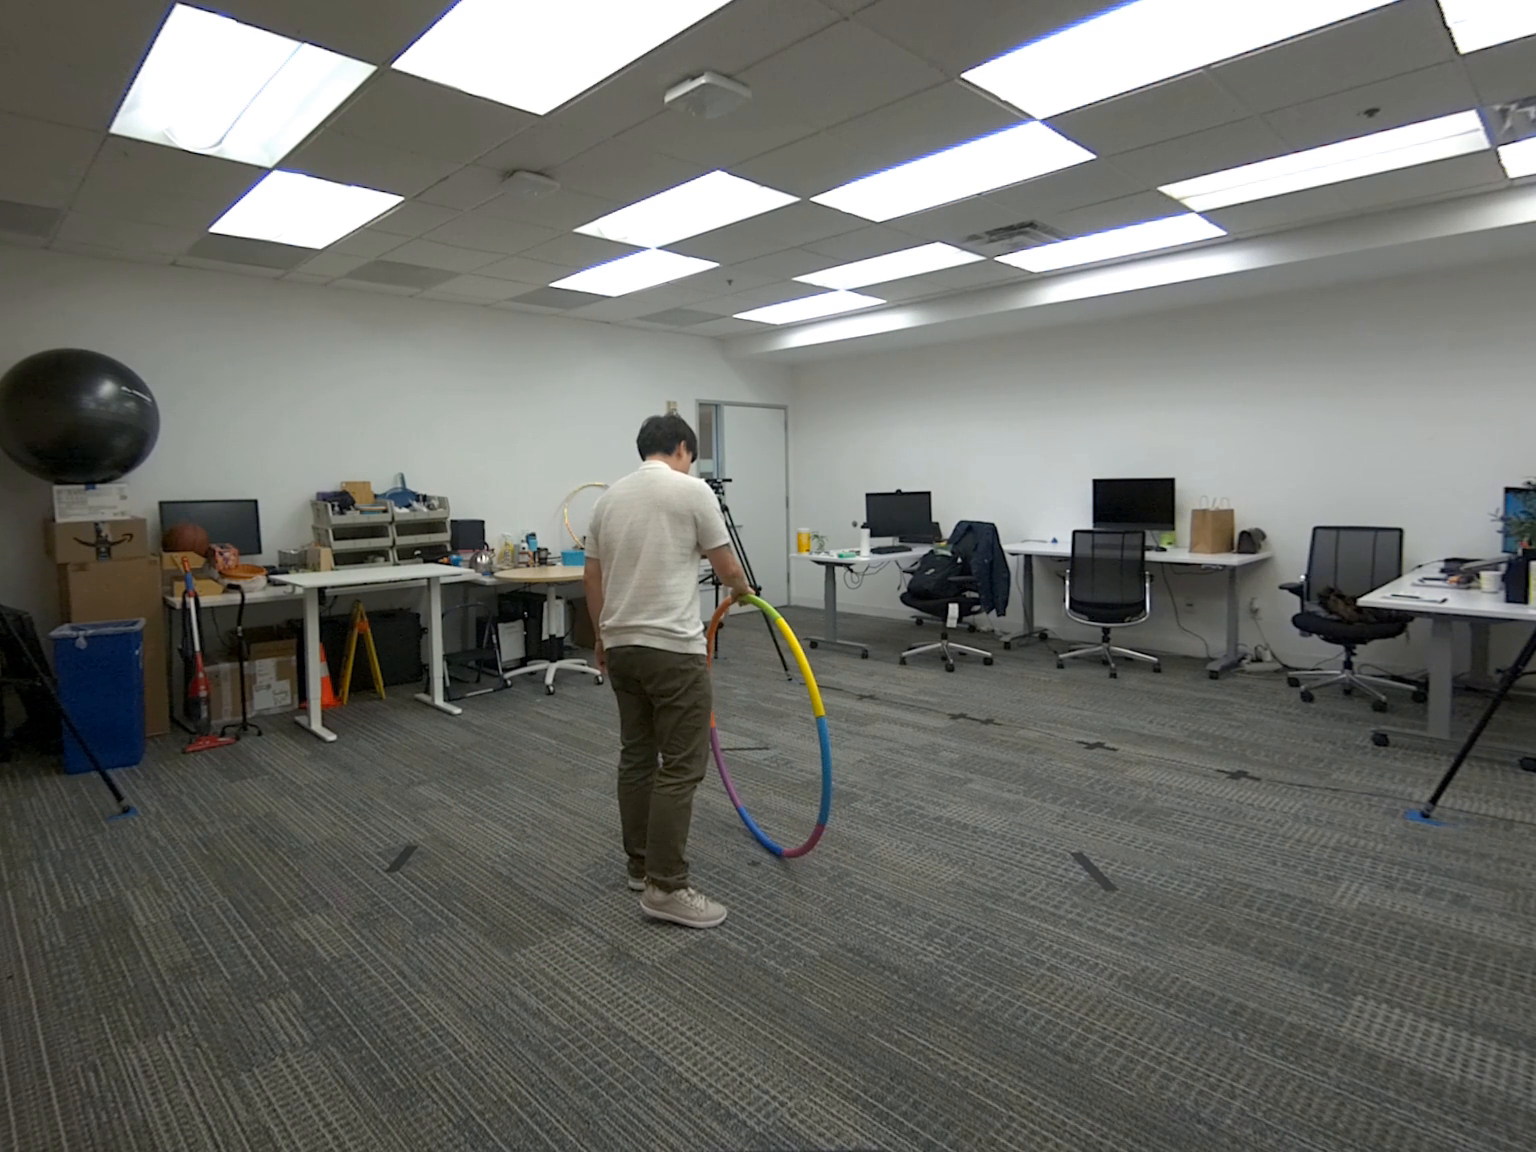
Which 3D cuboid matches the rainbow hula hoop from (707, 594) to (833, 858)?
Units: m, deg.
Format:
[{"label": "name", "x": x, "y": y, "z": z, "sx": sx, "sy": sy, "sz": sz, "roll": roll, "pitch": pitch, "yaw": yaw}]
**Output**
[{"label": "rainbow hula hoop", "x": -0.026, "y": 0.550, "z": 3.196, "sx": 0.035, "sy": 0.973, "sz": 1.003, "roll": -6, "pitch": 7, "yaw": -26}]
